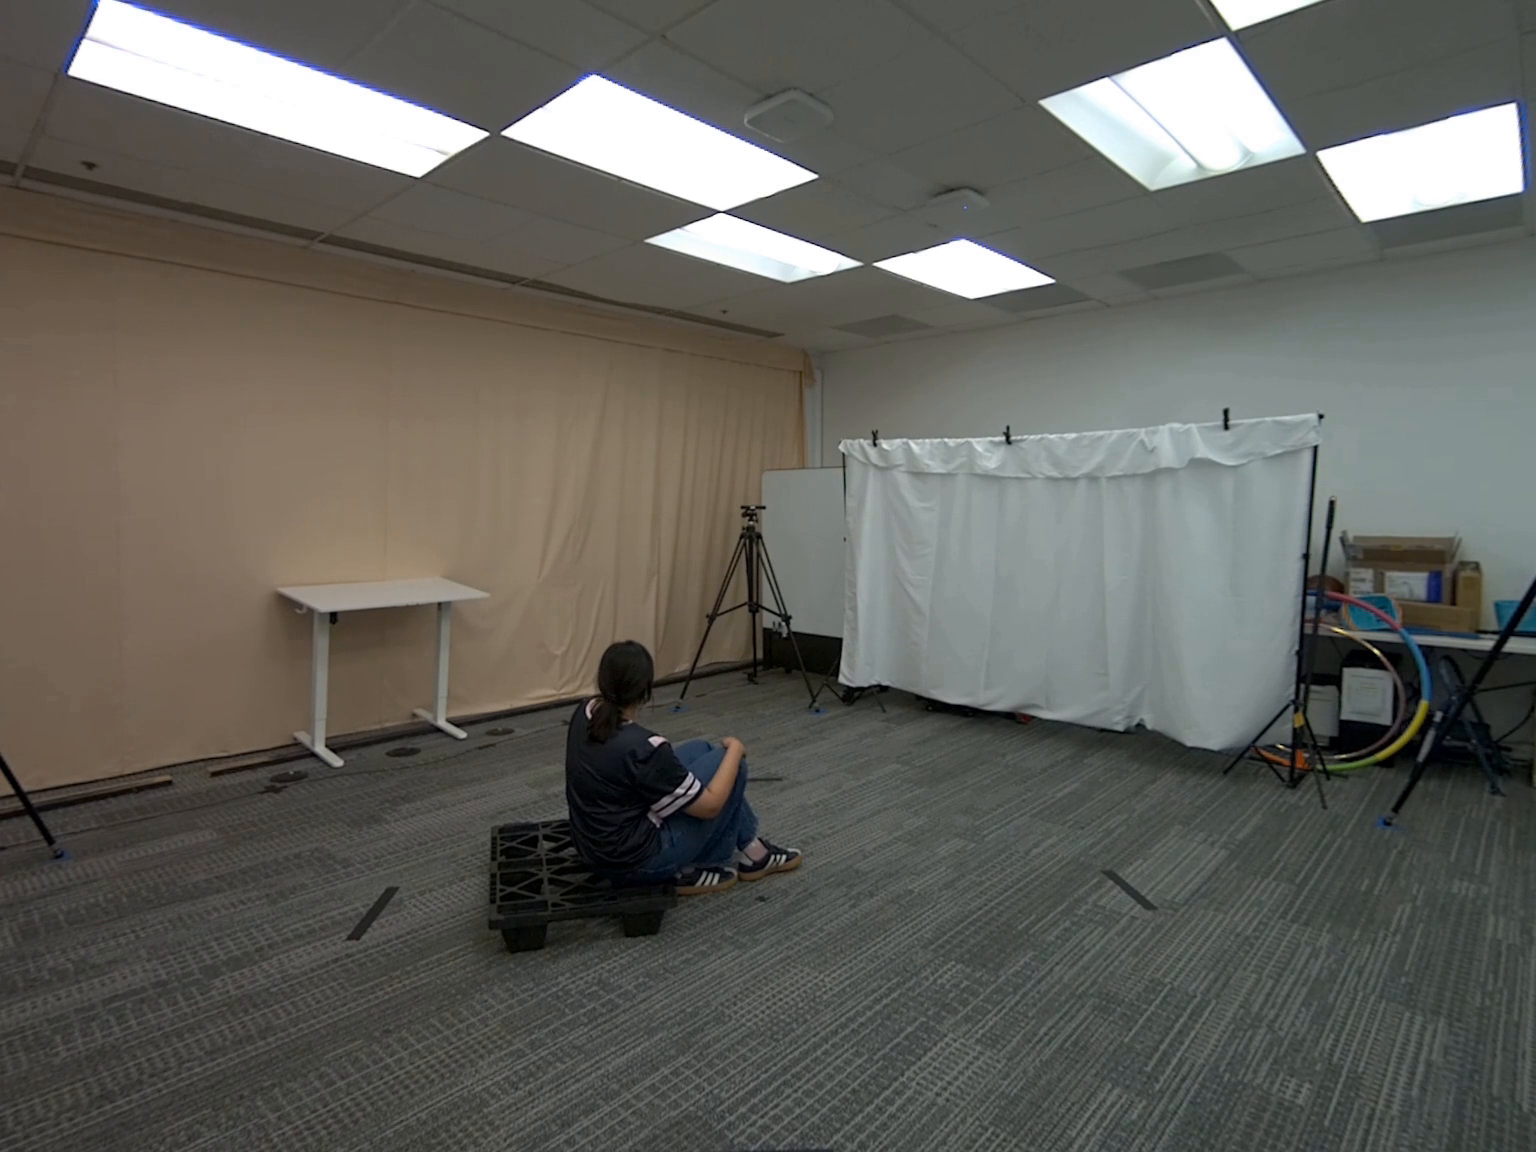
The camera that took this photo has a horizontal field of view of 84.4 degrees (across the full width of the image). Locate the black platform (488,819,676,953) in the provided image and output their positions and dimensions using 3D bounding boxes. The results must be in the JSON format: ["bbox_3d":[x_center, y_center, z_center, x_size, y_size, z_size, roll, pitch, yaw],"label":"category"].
[{"bbox_3d":[-0.695,1.076,3.038,0.596,0.143,0.820,-2,5,-16],"label":"black platform"}]
